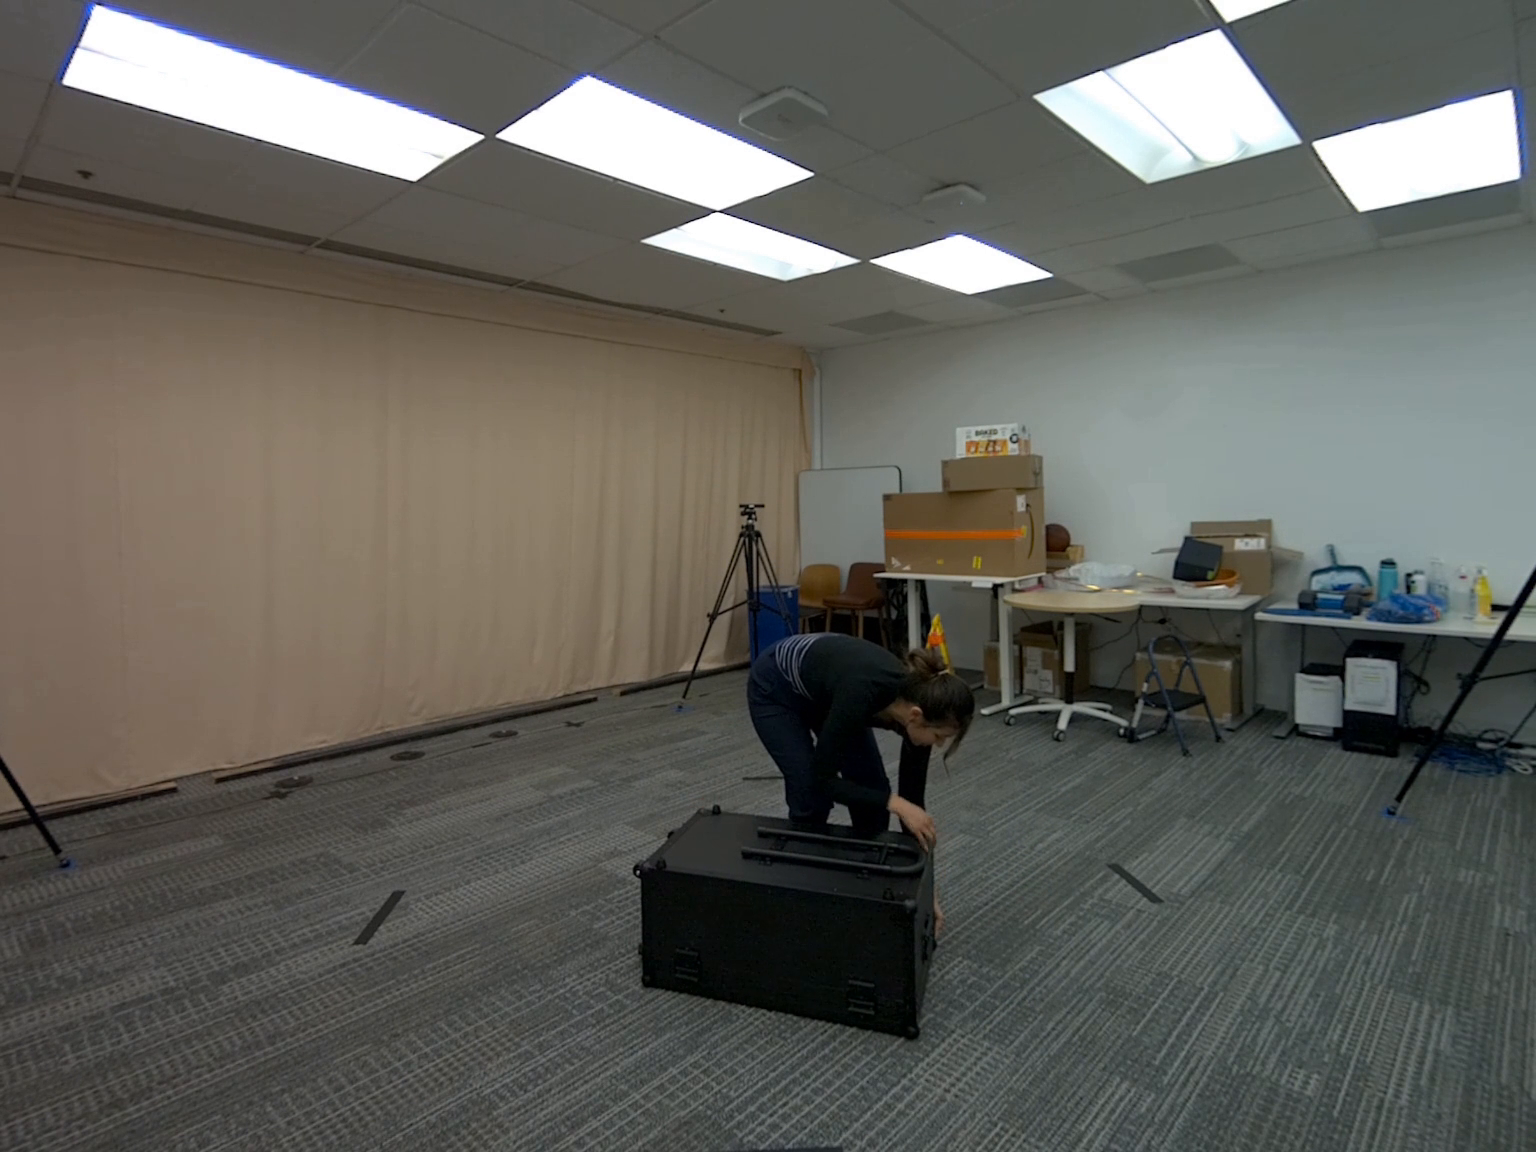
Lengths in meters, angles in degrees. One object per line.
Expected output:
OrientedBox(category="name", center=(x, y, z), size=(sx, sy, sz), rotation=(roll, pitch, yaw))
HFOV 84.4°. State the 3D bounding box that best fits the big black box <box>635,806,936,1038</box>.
OrientedBox(category="big black box", center=(0.034, 0.979, 2.530), size=(0.879, 0.395, 0.512), rotation=(-1, 4, 19))
